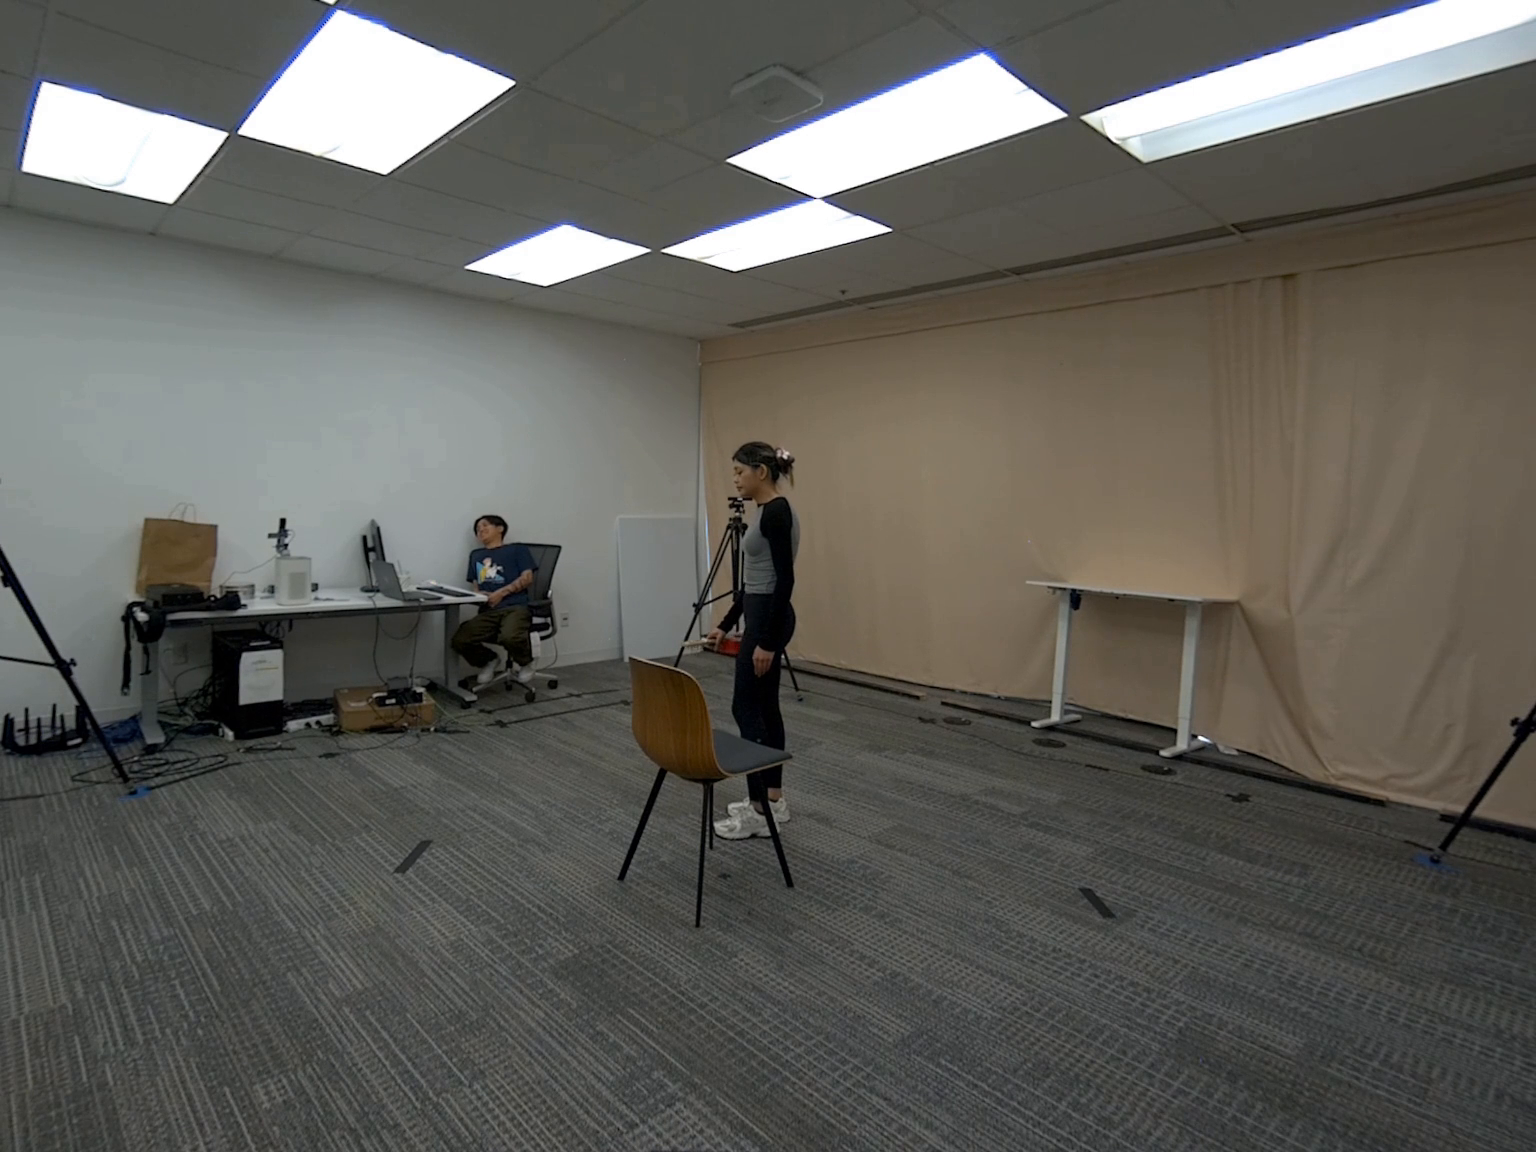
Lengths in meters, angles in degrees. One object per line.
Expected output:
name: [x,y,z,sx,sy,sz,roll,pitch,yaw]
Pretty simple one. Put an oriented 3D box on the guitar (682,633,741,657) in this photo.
guitar: [-0.229,0.304,3.863,0.487,0.070,0.198,-2,10,-33]
